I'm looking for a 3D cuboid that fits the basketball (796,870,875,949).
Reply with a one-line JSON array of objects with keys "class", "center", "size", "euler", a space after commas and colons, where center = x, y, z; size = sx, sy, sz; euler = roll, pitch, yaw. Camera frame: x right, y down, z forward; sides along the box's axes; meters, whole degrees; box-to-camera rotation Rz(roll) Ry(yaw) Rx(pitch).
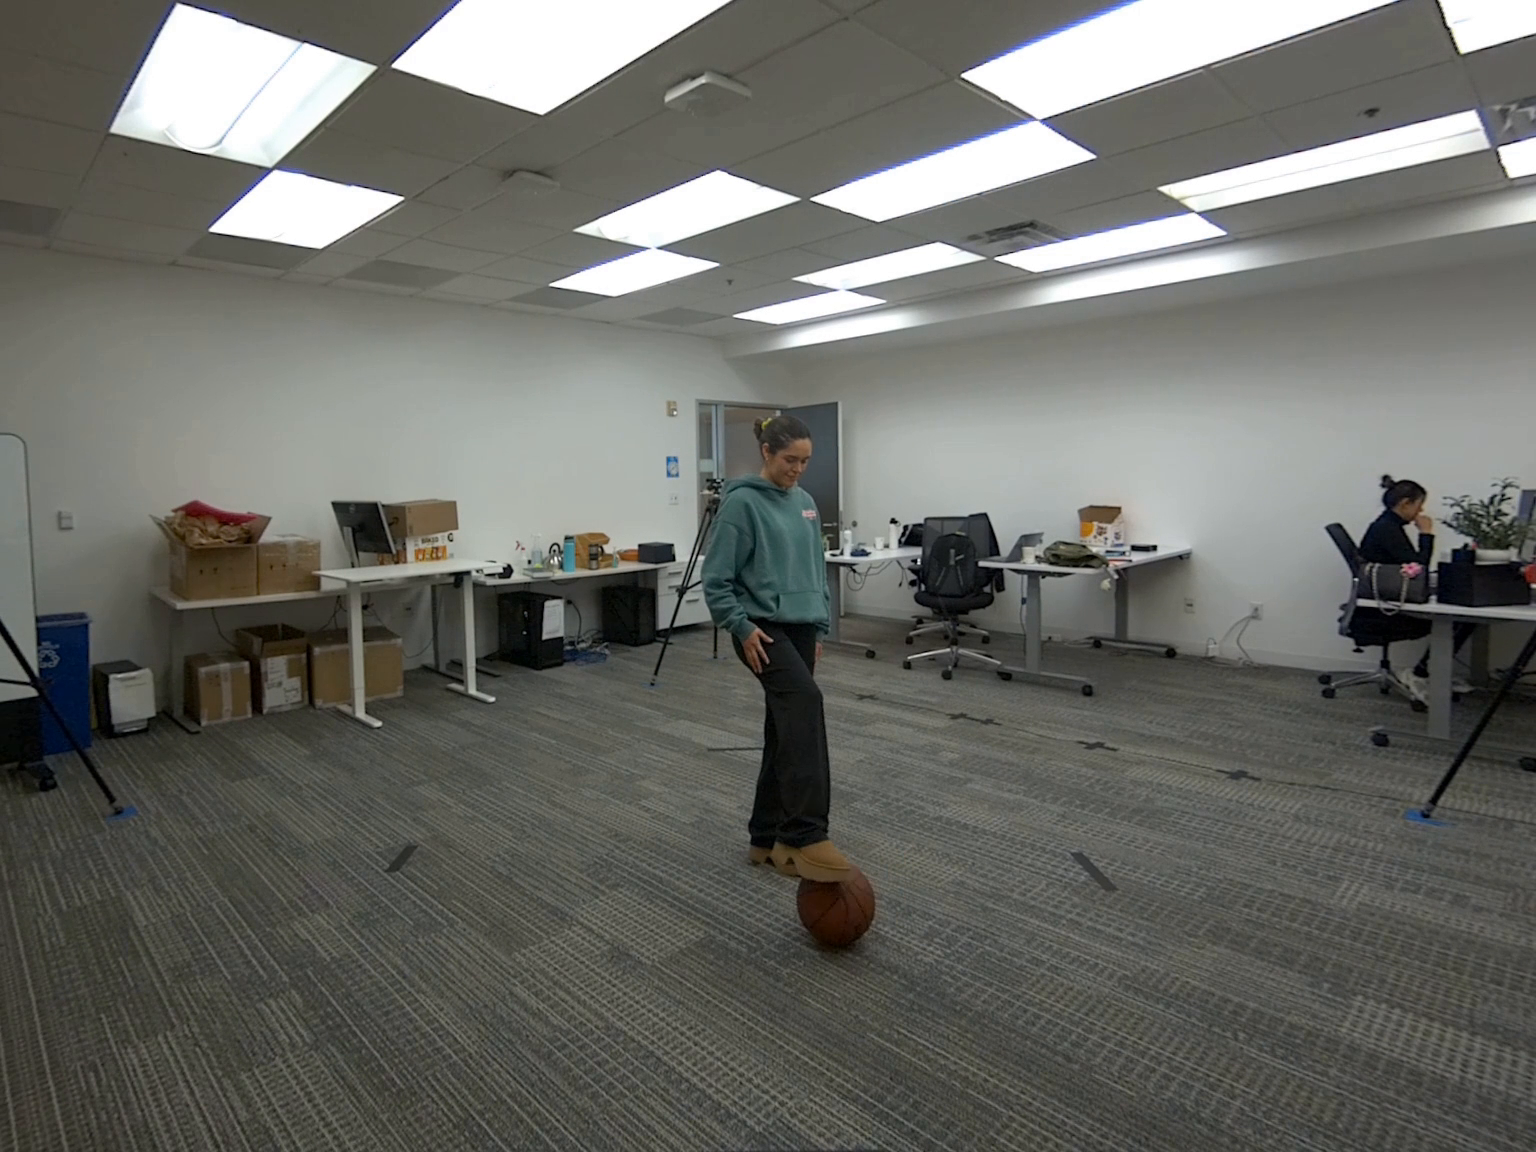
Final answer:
[{"class": "basketball", "center": [0.207, 0.983, 2.581], "size": [0.236, 0.235, 0.237], "euler": [-1, 5, -2]}]
